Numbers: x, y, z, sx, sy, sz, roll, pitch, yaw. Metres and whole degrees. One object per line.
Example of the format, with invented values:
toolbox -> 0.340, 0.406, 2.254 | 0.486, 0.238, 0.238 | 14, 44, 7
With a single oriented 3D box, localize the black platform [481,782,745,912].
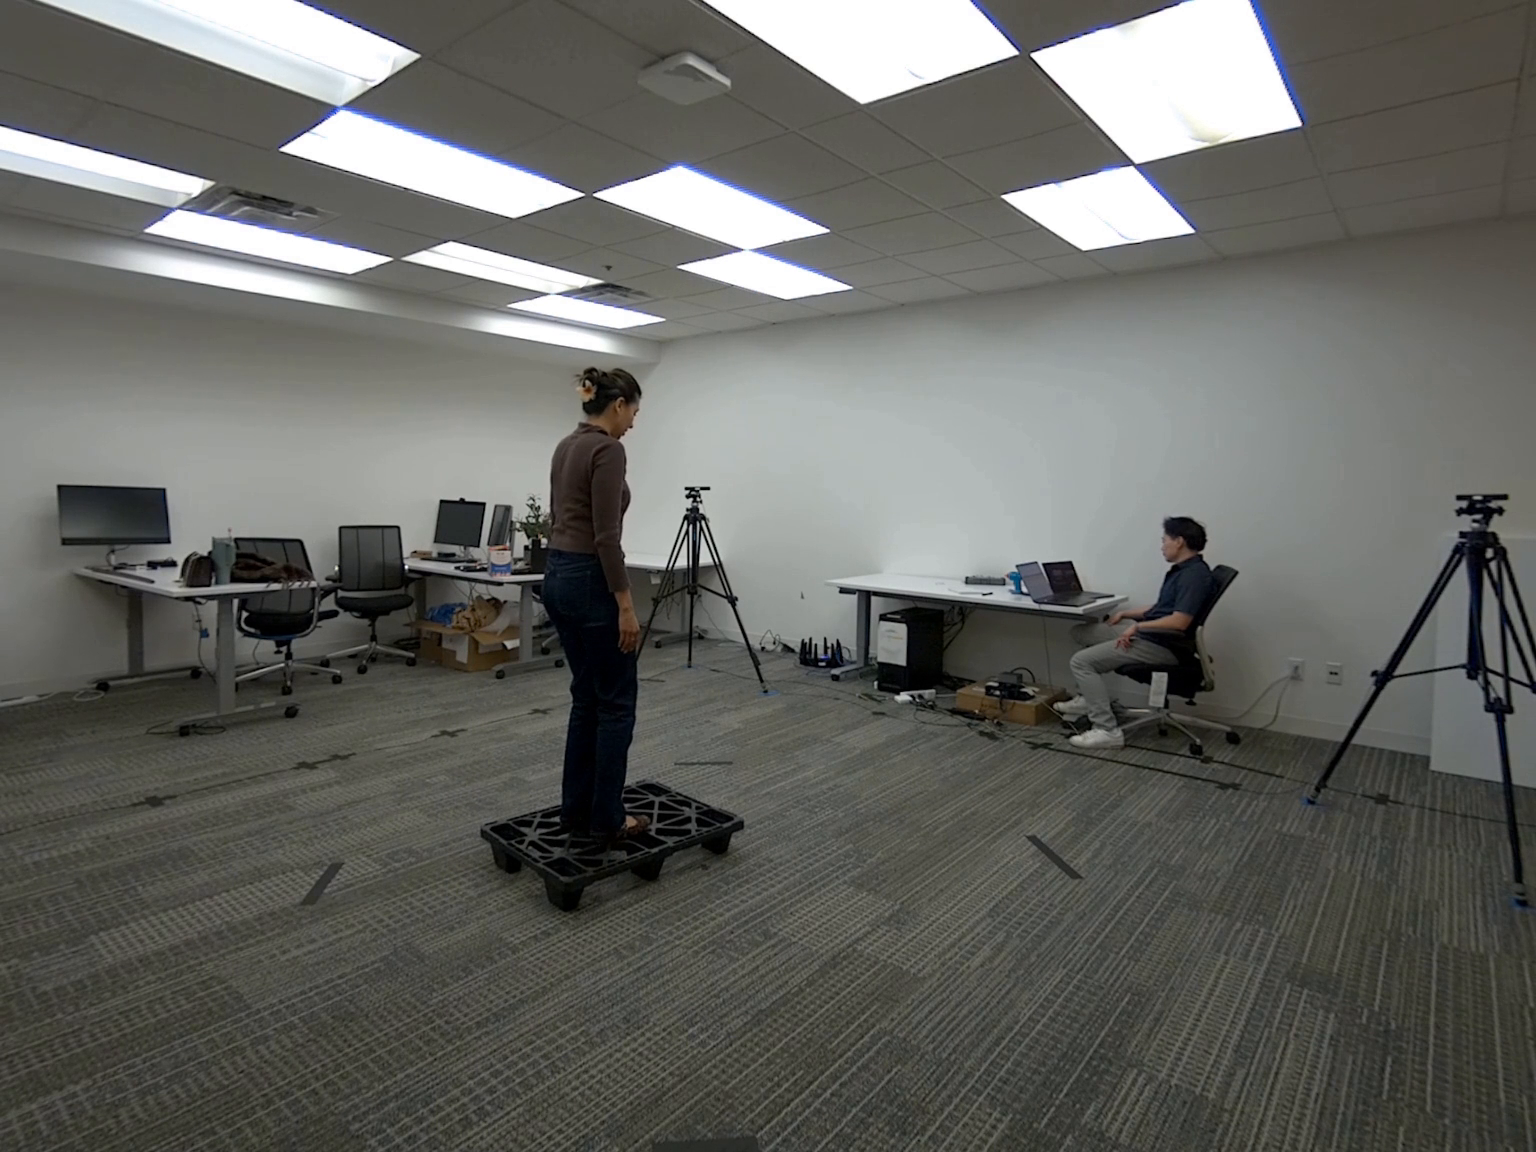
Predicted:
black platform -> -0.581, 0.986, 3.180 | 0.782, 0.143, 0.626 | -5, 8, -44
